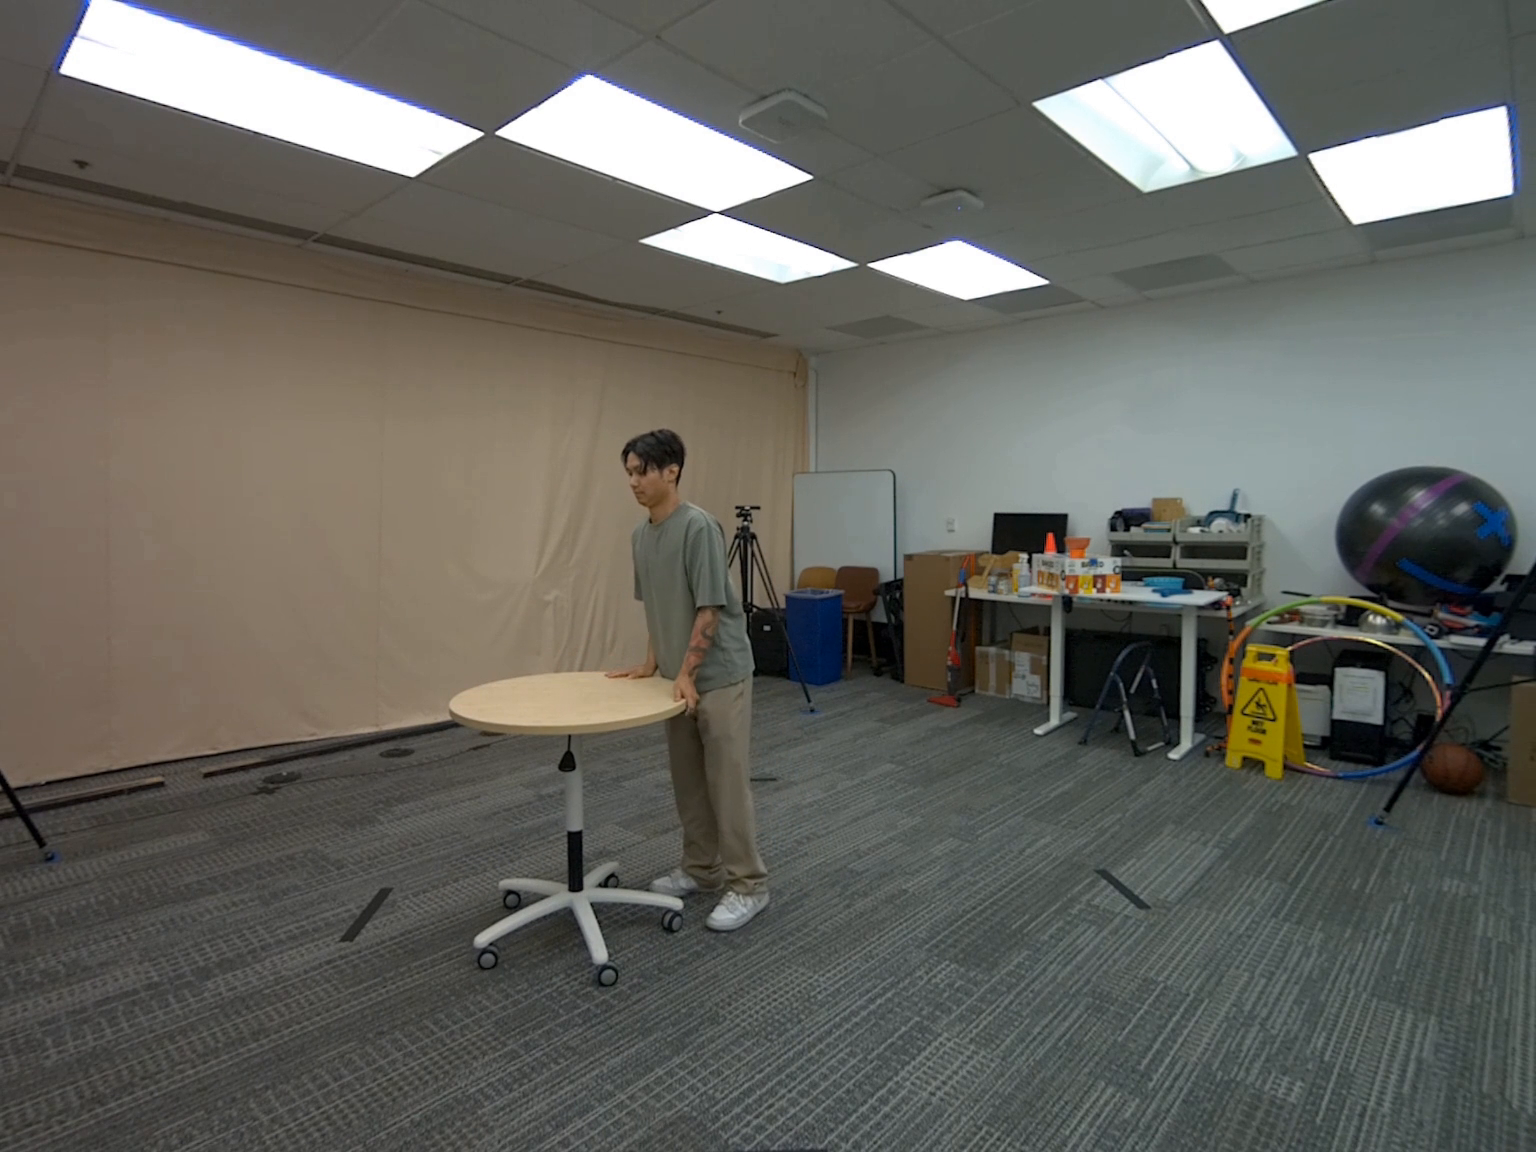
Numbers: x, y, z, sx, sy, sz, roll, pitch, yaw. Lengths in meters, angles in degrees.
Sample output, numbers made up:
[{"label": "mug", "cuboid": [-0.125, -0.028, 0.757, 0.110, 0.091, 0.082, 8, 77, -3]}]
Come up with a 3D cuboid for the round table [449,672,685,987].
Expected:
[{"label": "round table", "cuboid": [-0.643, 0.775, 2.755, 0.784, 0.785, 0.788, -1, 4, -2]}]
